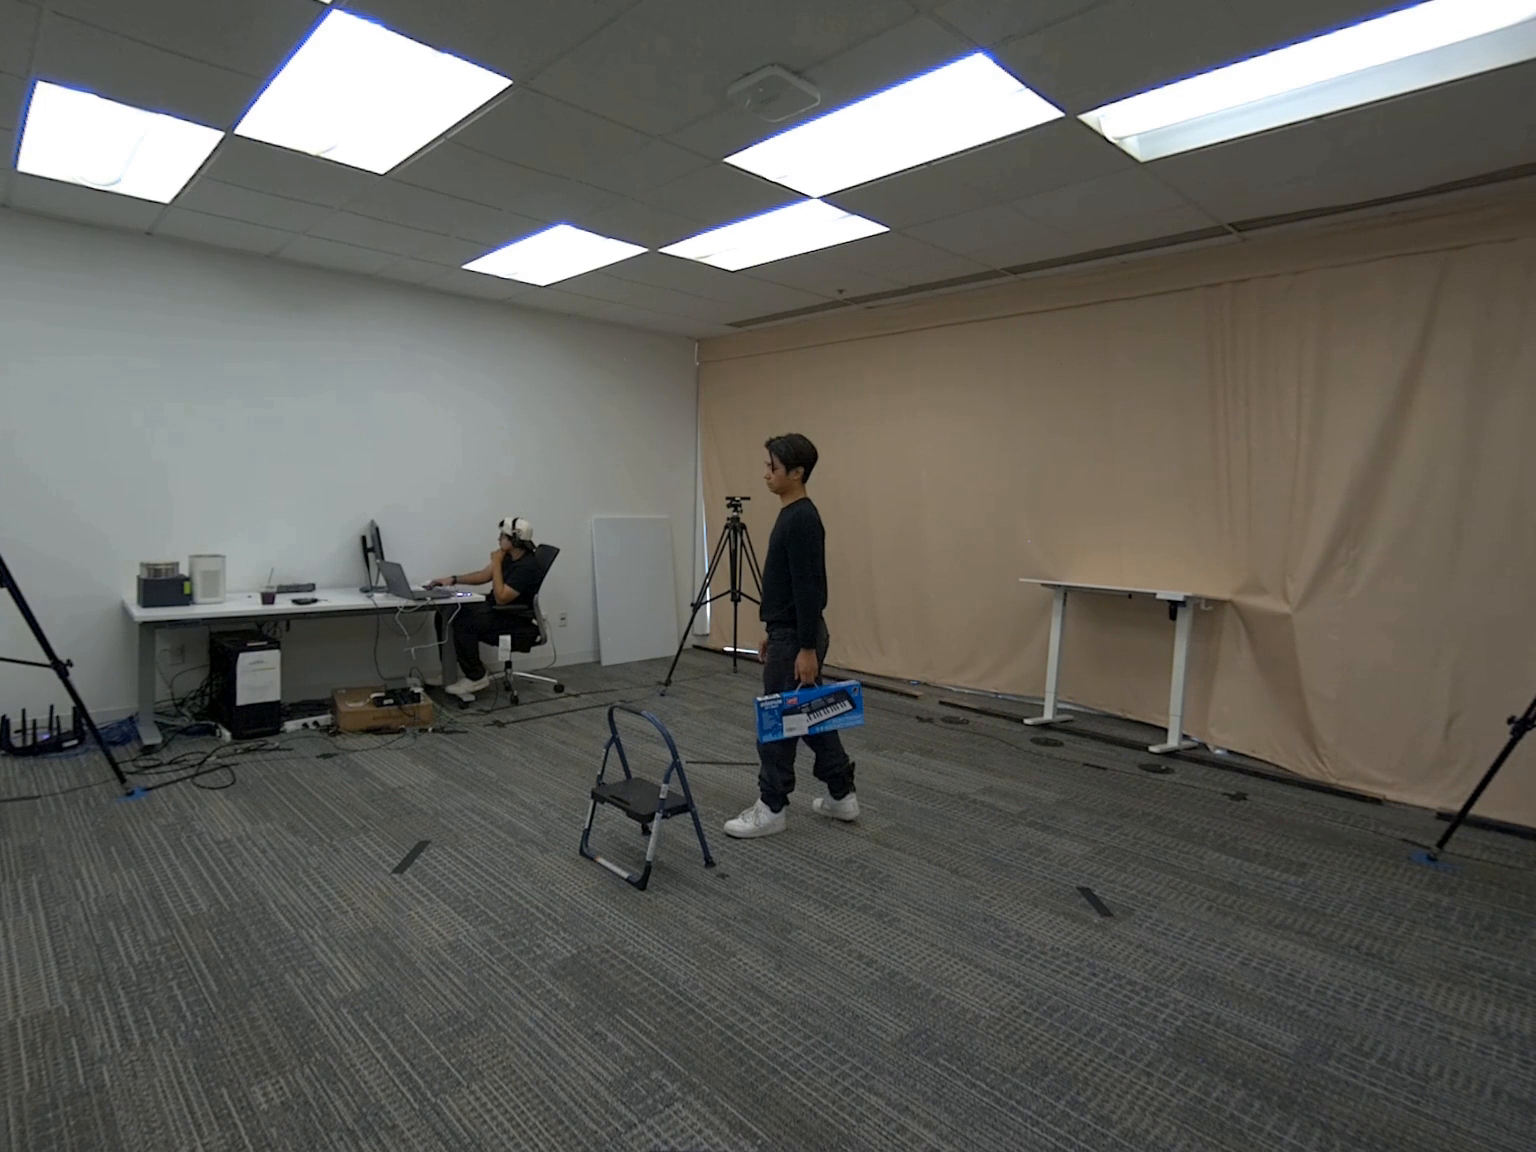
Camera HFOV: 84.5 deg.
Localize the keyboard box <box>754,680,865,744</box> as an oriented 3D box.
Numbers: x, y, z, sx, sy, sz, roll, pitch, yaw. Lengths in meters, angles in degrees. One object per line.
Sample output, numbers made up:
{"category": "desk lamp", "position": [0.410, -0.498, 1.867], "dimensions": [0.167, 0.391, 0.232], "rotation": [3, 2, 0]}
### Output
{"category": "keyboard box", "position": [0.152, 0.540, 3.372], "dimensions": [0.433, 0.175, 0.060], "rotation": [-9, 5, -13]}
